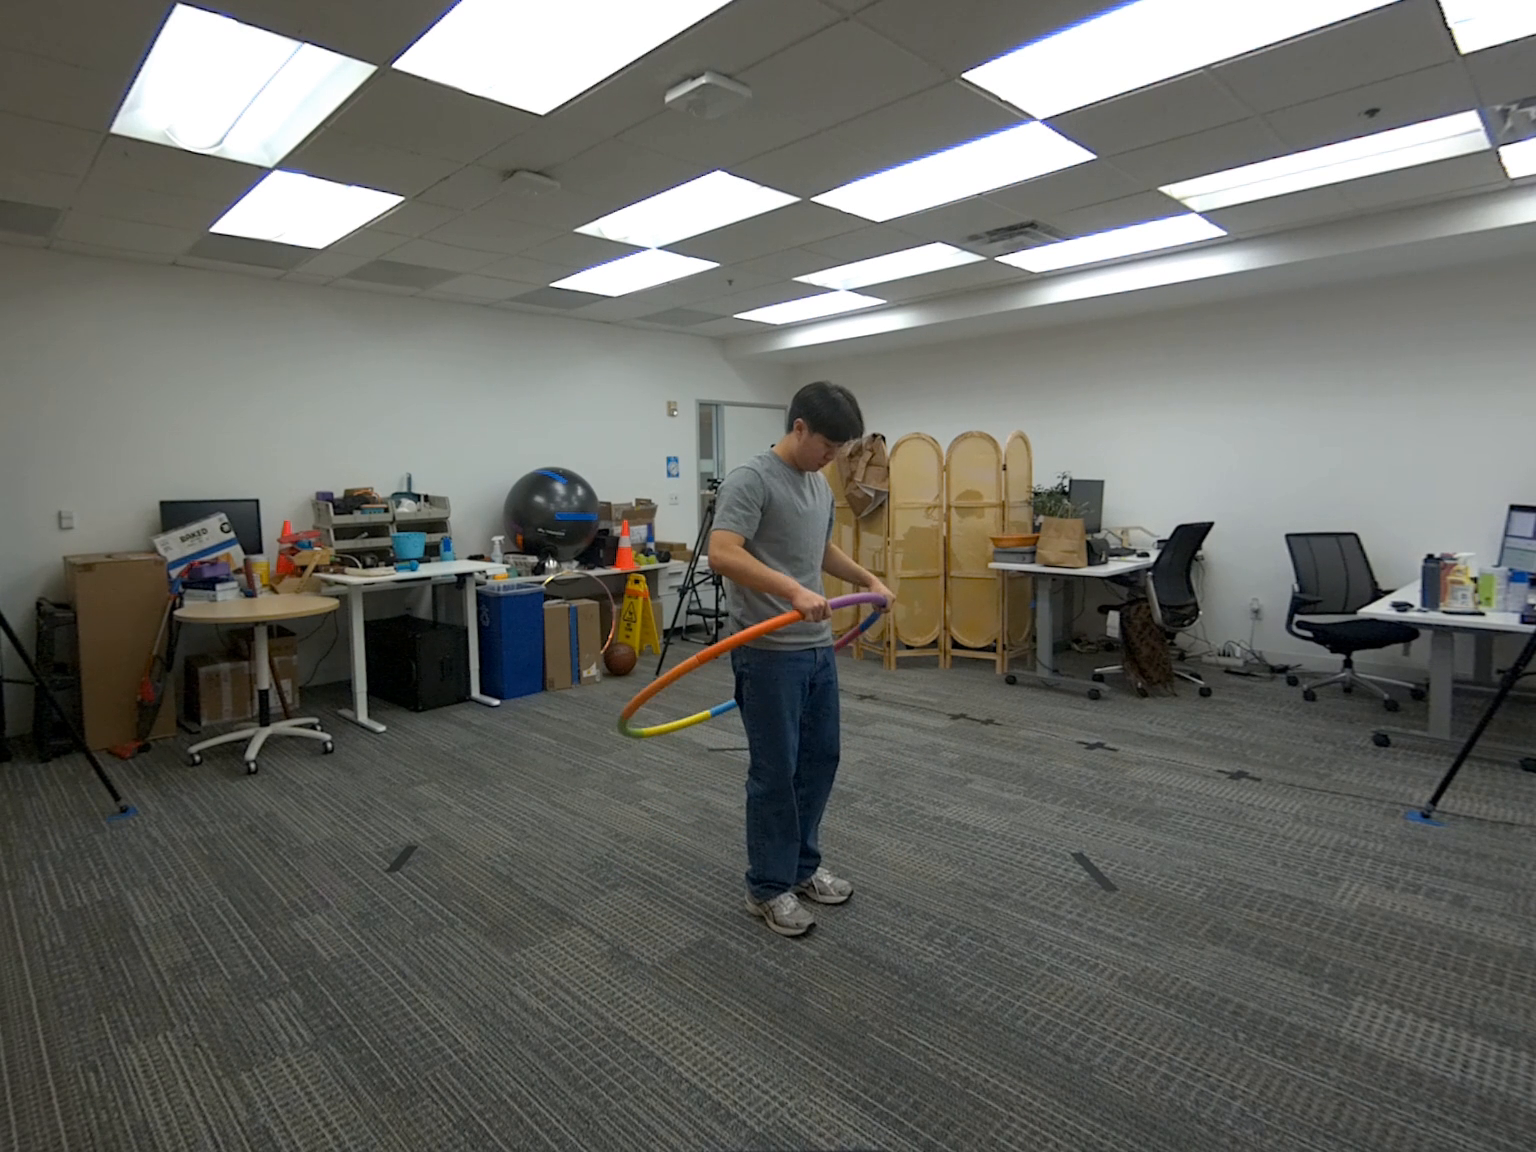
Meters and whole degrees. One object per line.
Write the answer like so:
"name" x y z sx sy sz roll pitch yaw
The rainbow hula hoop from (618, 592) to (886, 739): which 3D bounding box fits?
"rainbow hula hoop" -0.046 0.316 2.842 0.973 0.036 0.962 -23 -17 -10
